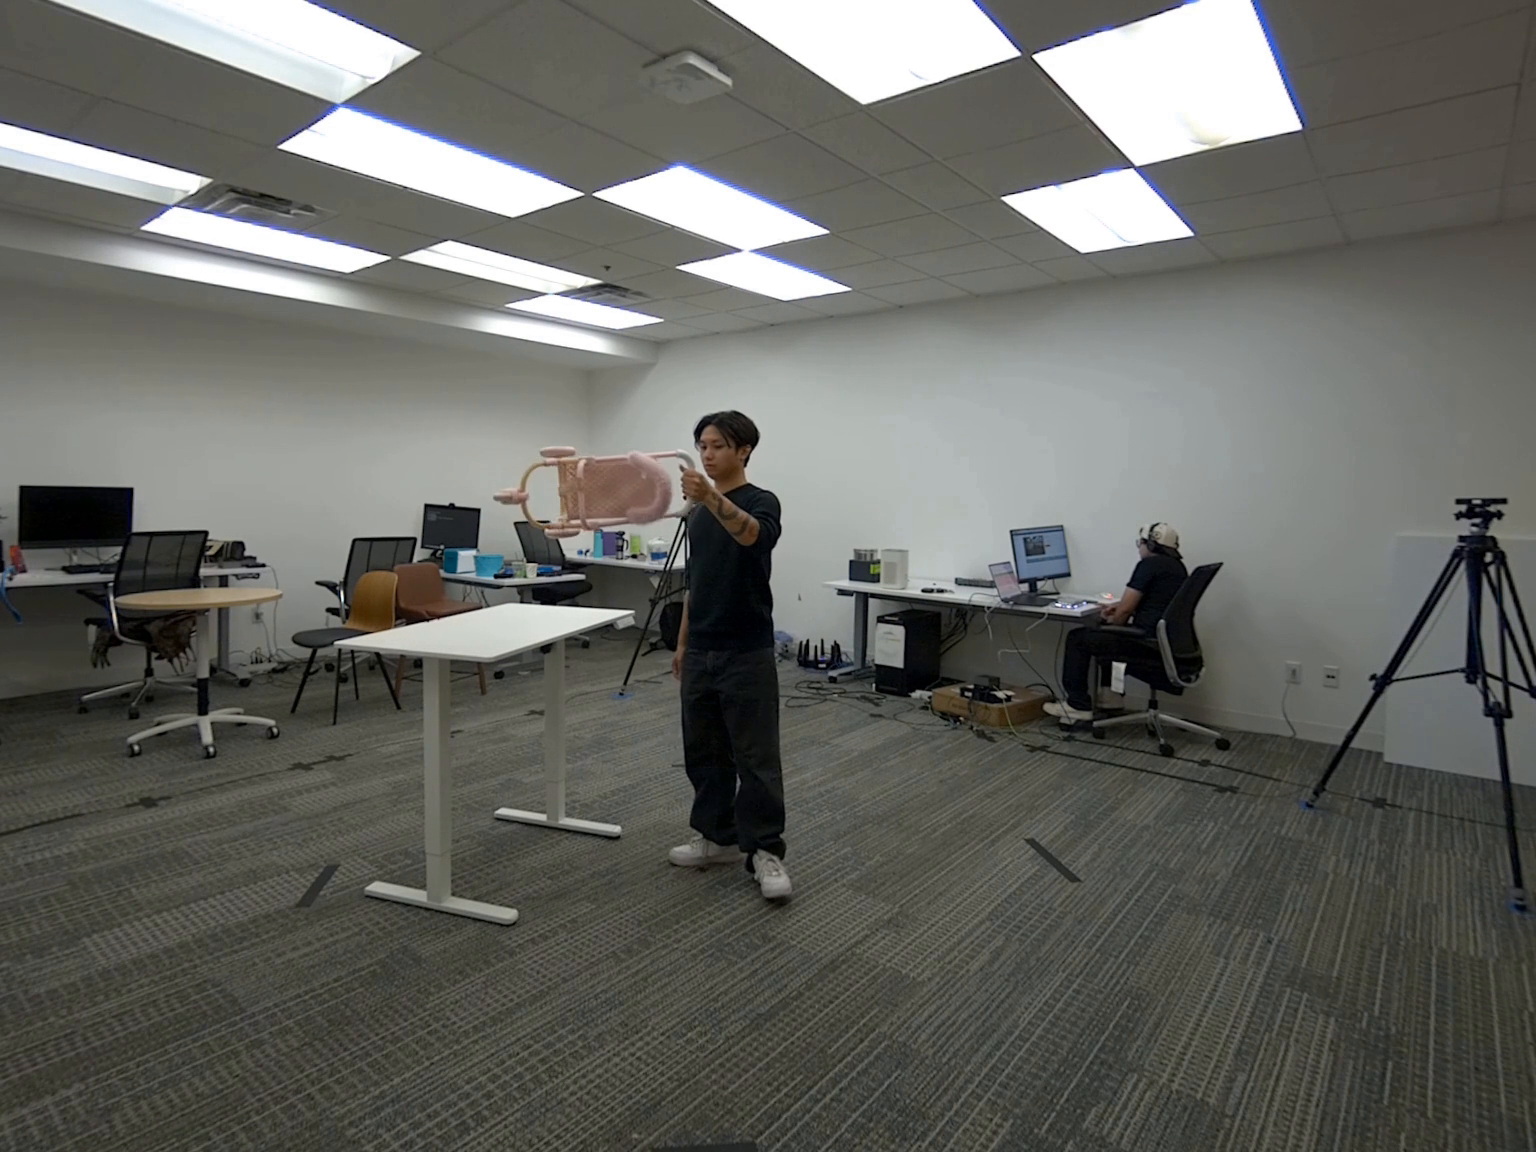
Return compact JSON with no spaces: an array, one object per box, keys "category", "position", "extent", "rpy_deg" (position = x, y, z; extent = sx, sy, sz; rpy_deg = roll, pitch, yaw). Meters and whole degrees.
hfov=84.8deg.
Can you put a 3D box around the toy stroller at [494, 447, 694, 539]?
[{"category":"toy stroller","position":[-0.512,-0.250,2.520],"extent":[0.539,0.280,0.341],"rpy_deg":[0,6,7]}]
